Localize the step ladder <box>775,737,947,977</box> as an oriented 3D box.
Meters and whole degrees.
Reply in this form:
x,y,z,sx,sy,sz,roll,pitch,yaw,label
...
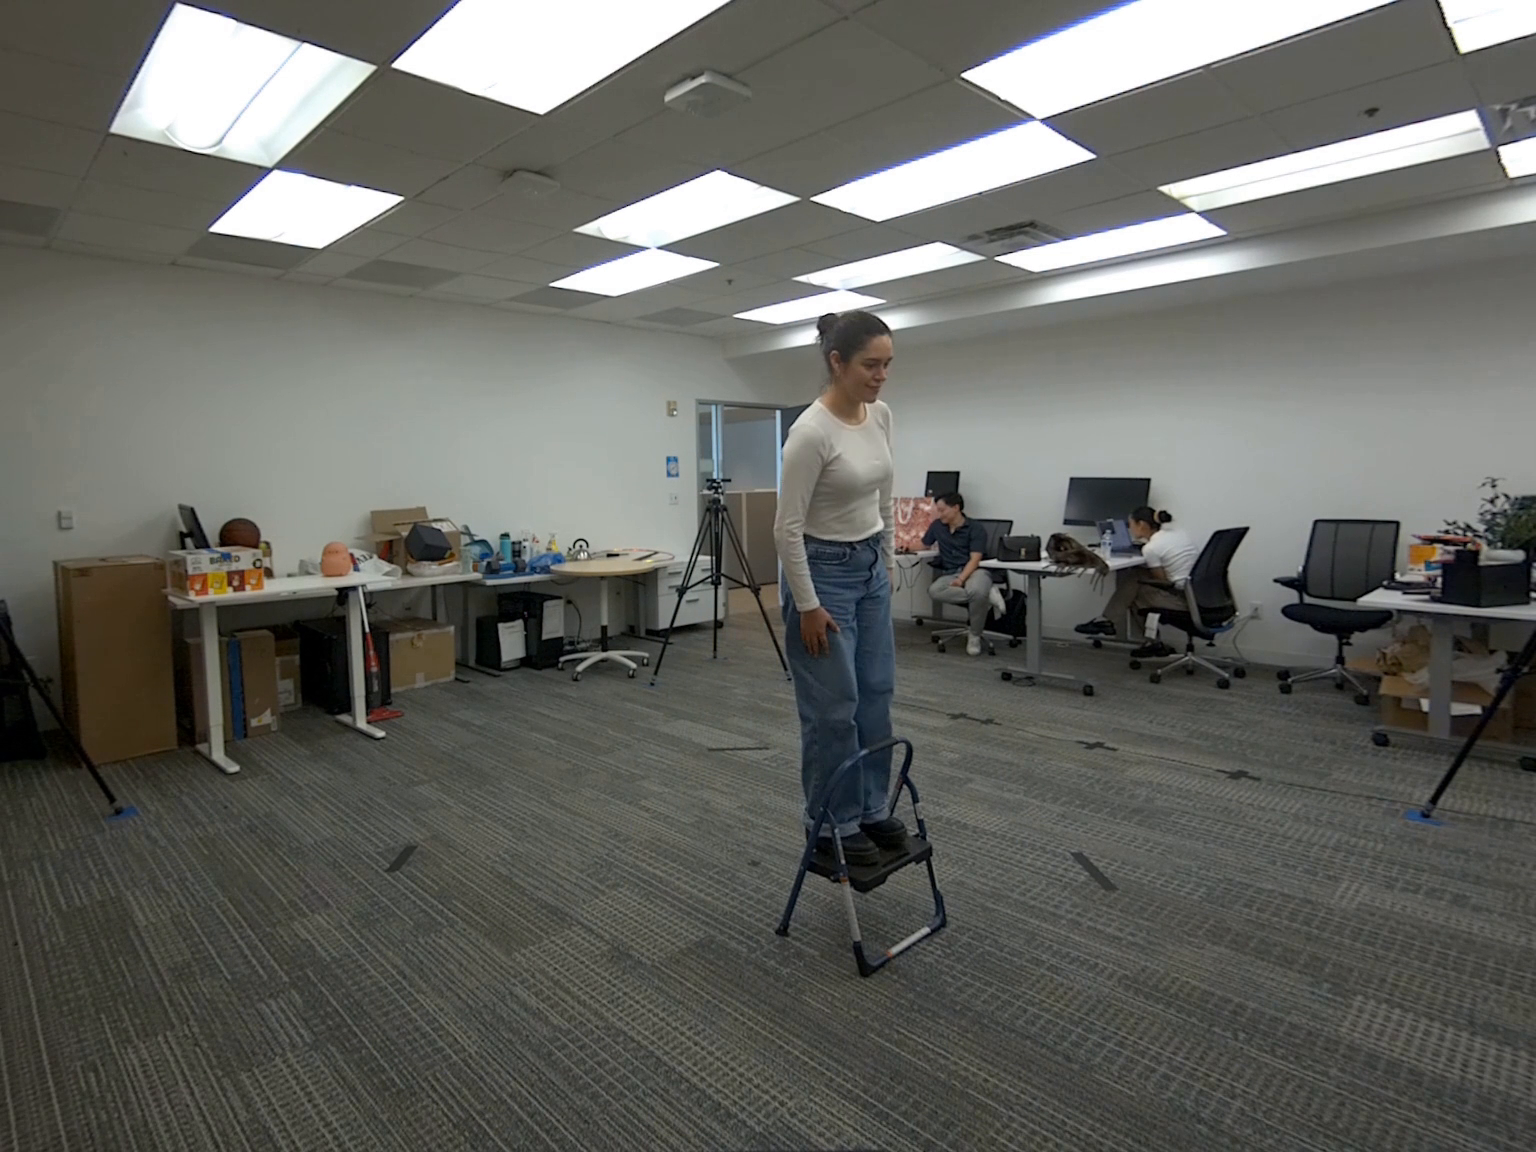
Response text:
x,y,z,sx,sy,sz,roll,pitch,yaw,label
0.289,0.791,2.624,0.360,0.603,0.419,4,7,45,step ladder
